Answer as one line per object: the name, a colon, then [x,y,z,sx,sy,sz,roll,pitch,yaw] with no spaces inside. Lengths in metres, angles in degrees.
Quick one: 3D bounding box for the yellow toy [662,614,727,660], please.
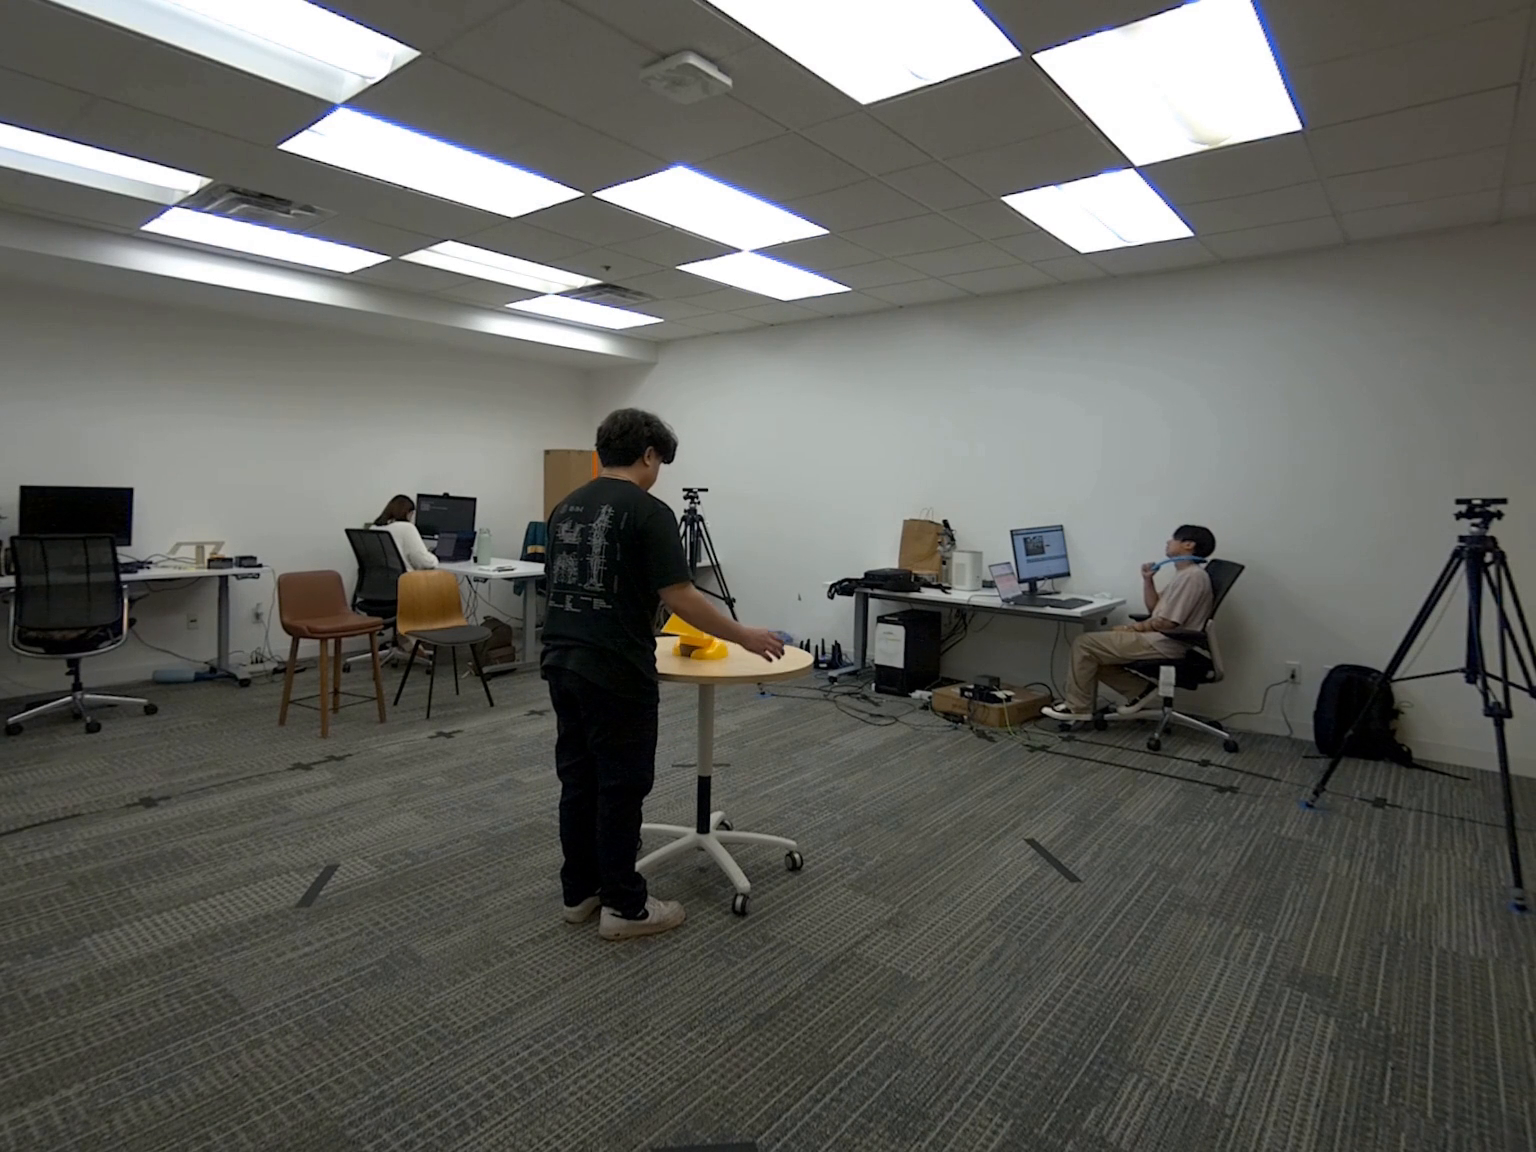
yellow toy: [-0.256,0.165,3.058,0.211,0.230,0.187,4,3,36]
